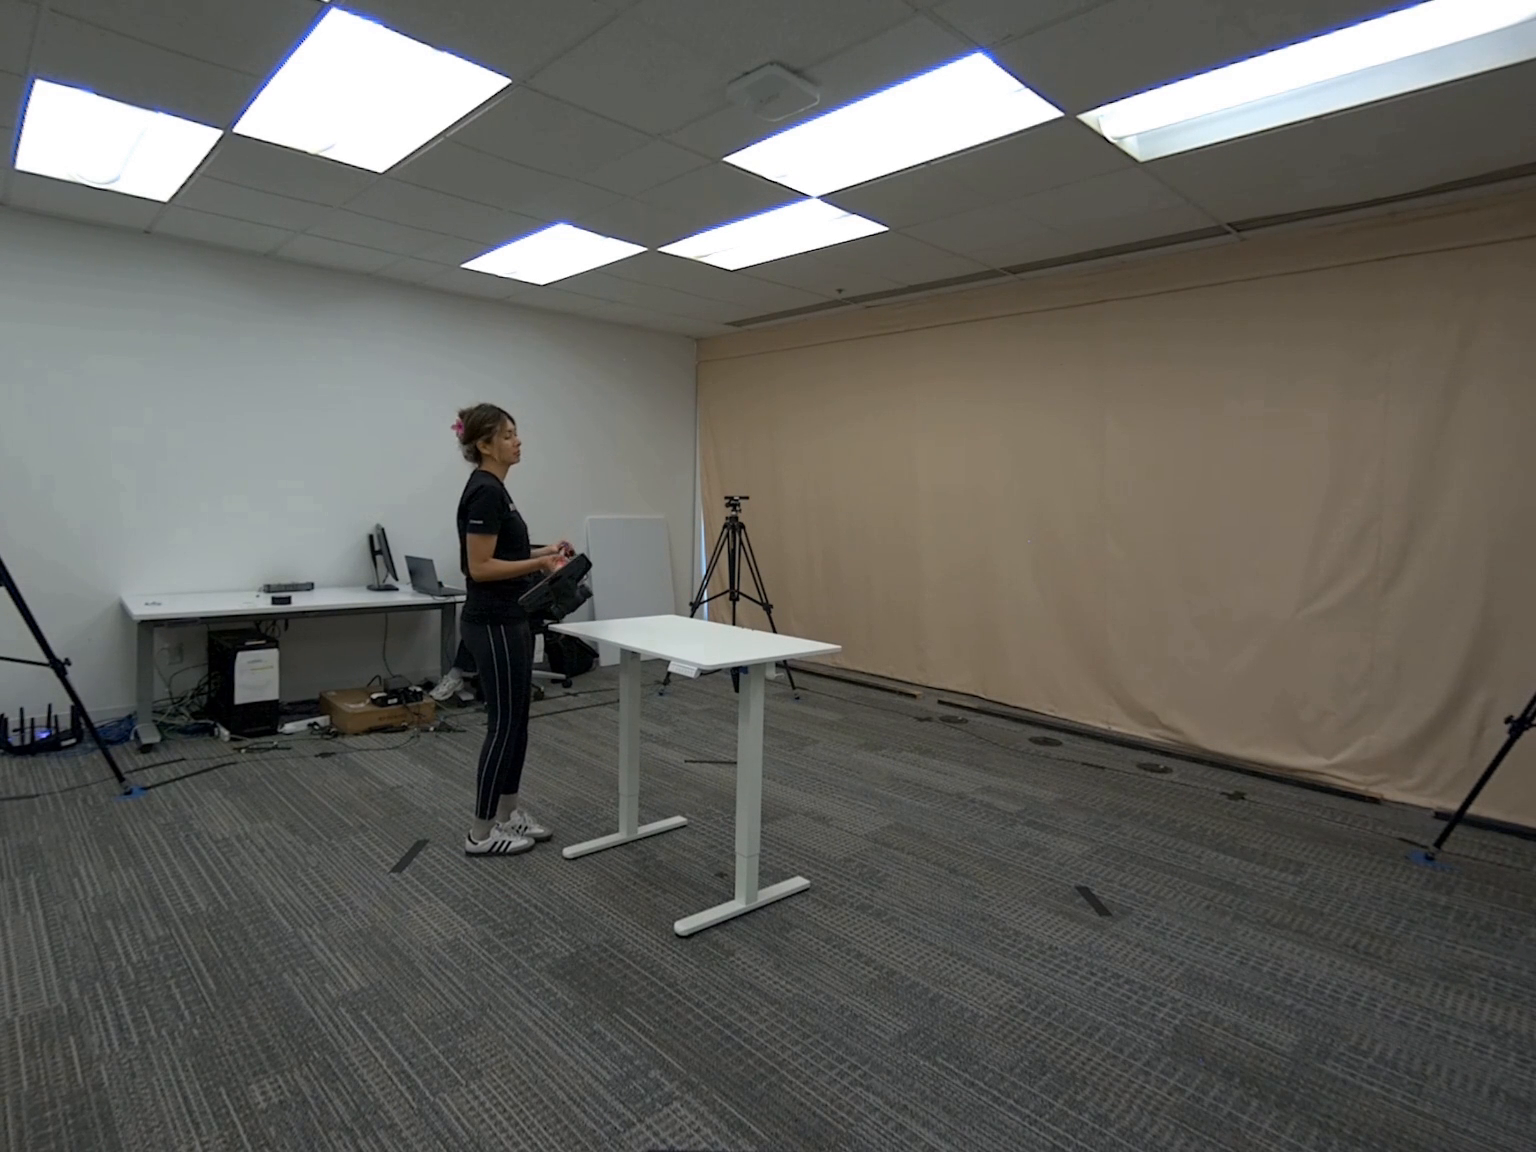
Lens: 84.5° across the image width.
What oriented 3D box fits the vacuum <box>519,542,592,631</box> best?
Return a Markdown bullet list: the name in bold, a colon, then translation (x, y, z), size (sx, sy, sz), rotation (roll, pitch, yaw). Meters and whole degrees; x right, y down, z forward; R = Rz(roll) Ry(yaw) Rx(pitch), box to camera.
- **vacuum**: translation (-0.759, -0.018, 3.150), size (0.252, 0.142, 1.064), rotation (-39, 14, -4)
